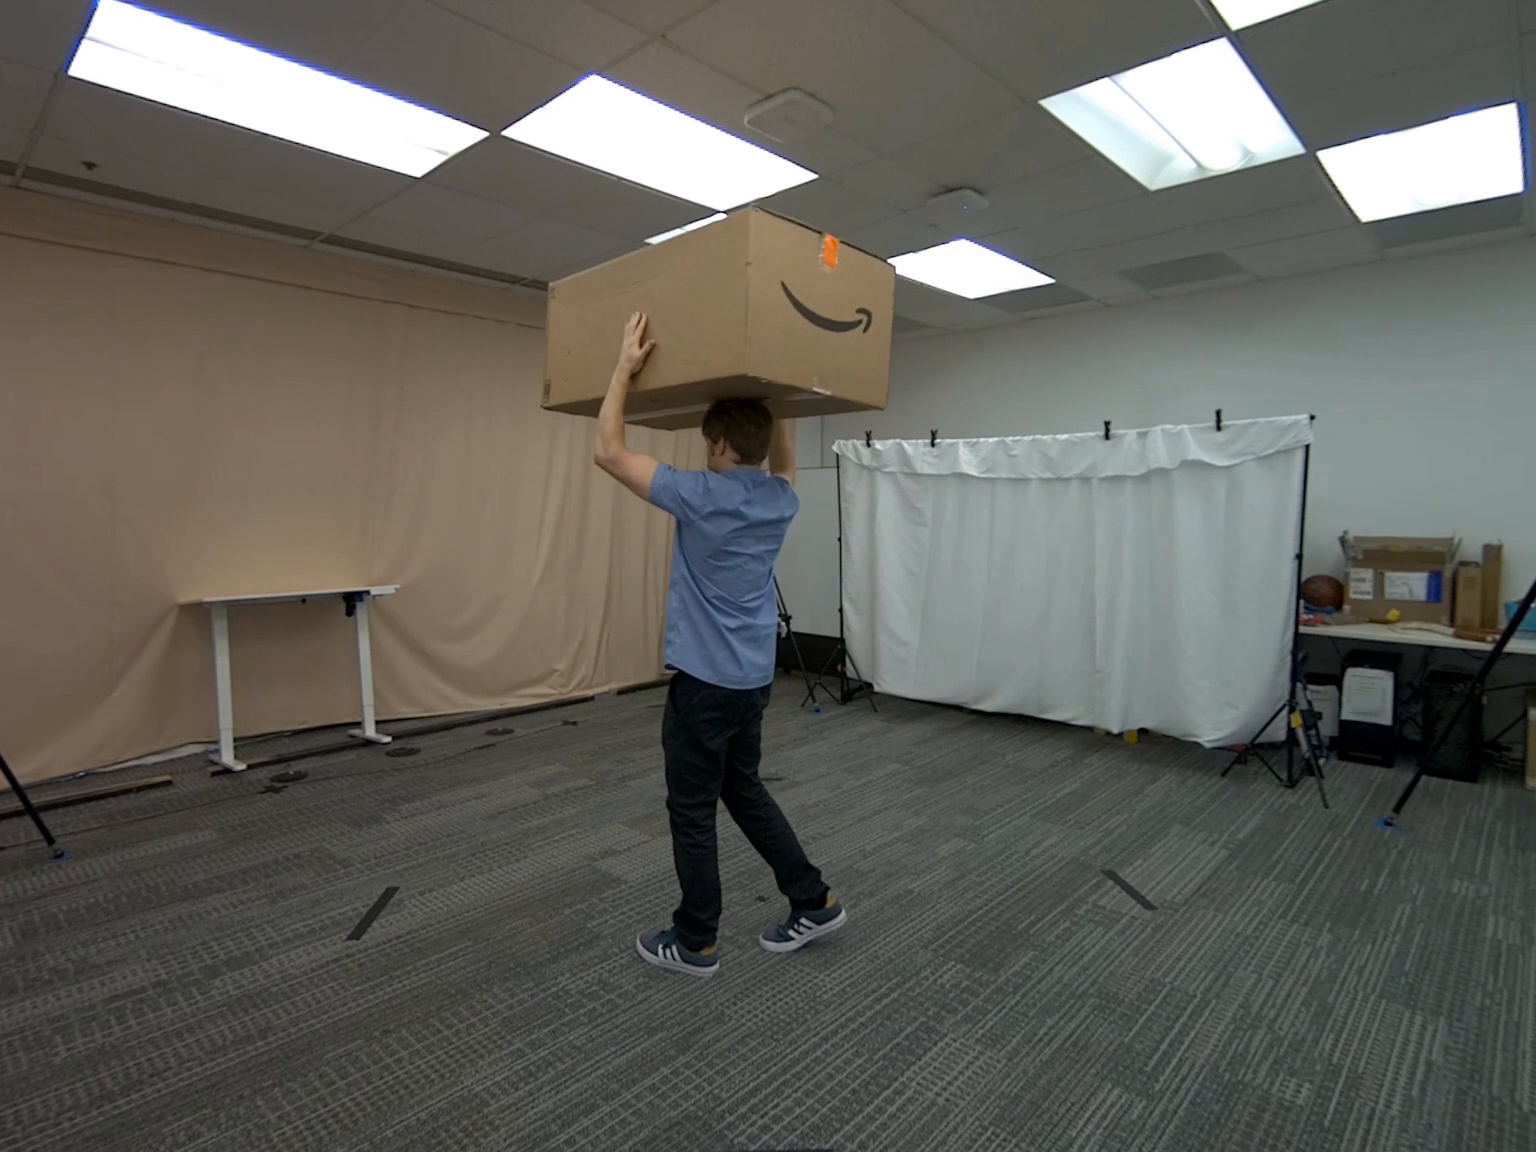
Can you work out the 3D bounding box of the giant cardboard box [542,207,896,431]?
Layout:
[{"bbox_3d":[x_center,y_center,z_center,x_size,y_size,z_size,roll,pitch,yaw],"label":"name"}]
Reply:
[{"bbox_3d":[-0.191,-0.734,2.642,0.559,0.426,1.060,2,2,-43],"label":"giant cardboard box"}]
